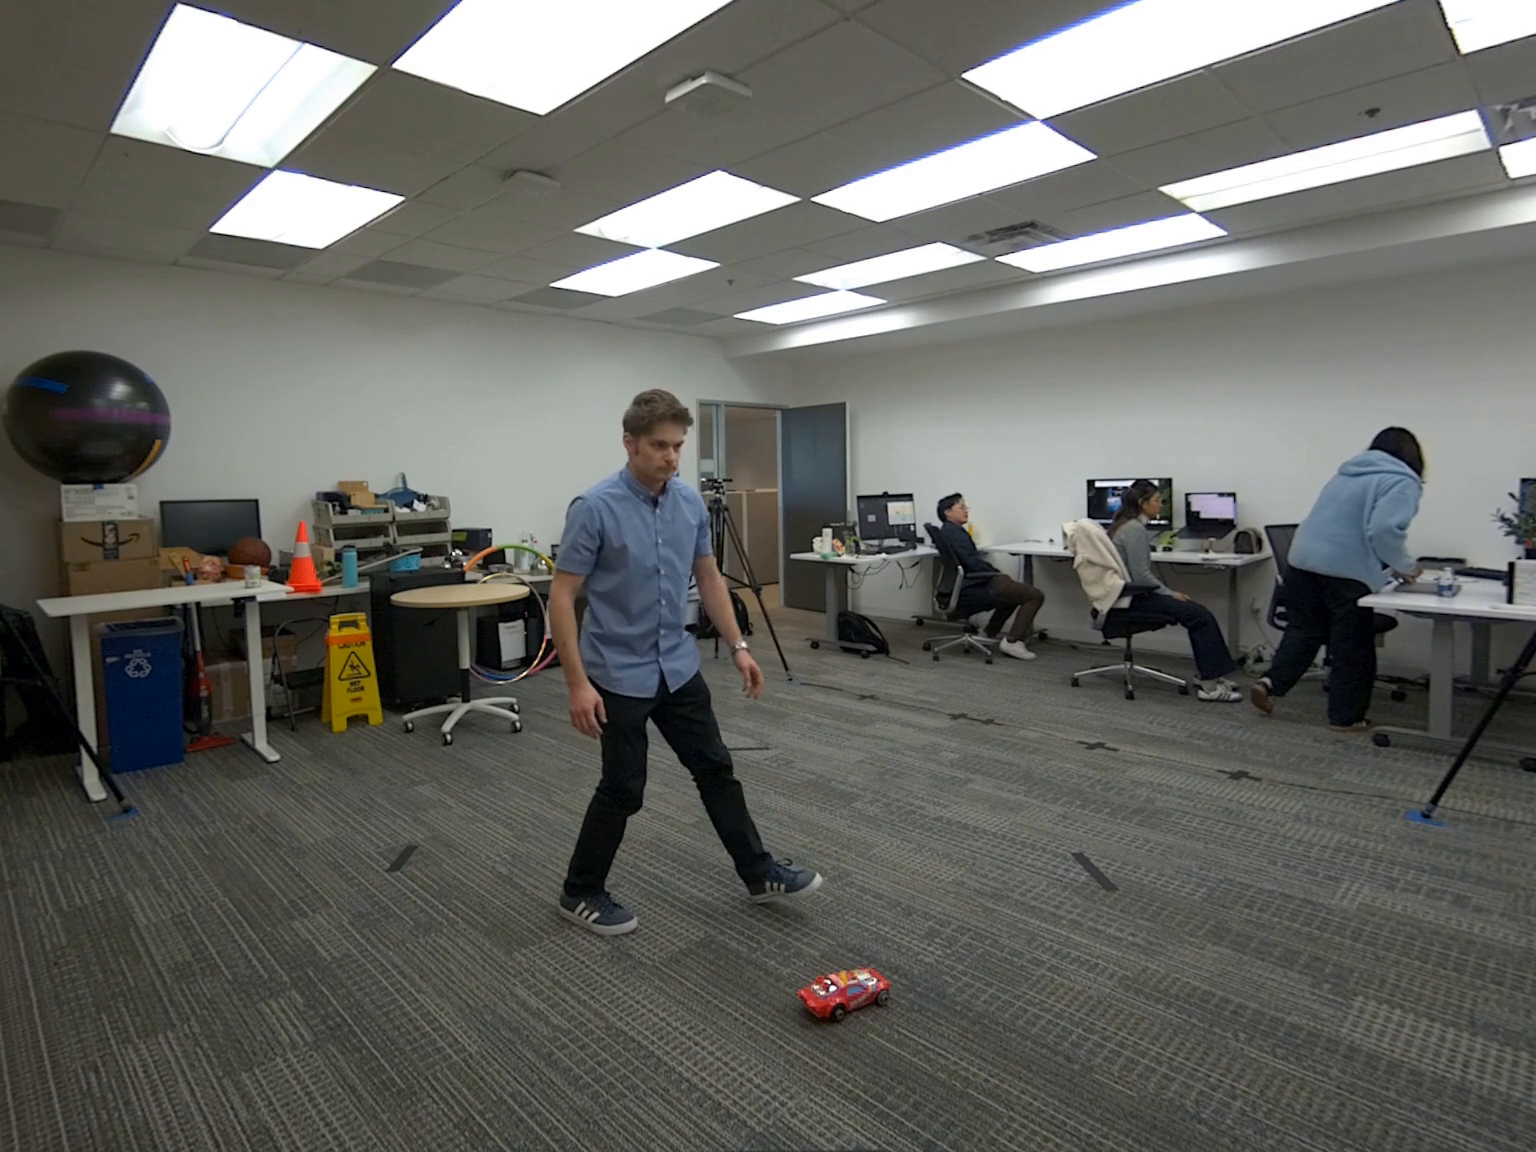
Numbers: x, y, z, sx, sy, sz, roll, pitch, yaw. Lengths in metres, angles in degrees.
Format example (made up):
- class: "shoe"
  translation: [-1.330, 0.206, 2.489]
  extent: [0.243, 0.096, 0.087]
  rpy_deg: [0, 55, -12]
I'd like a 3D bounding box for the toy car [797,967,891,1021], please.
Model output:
- class: "toy car"
  translation: [0.205, 1.109, 2.261]
  extent: [0.248, 0.083, 0.134]
  rpy_deg: [8, 2, -28]
